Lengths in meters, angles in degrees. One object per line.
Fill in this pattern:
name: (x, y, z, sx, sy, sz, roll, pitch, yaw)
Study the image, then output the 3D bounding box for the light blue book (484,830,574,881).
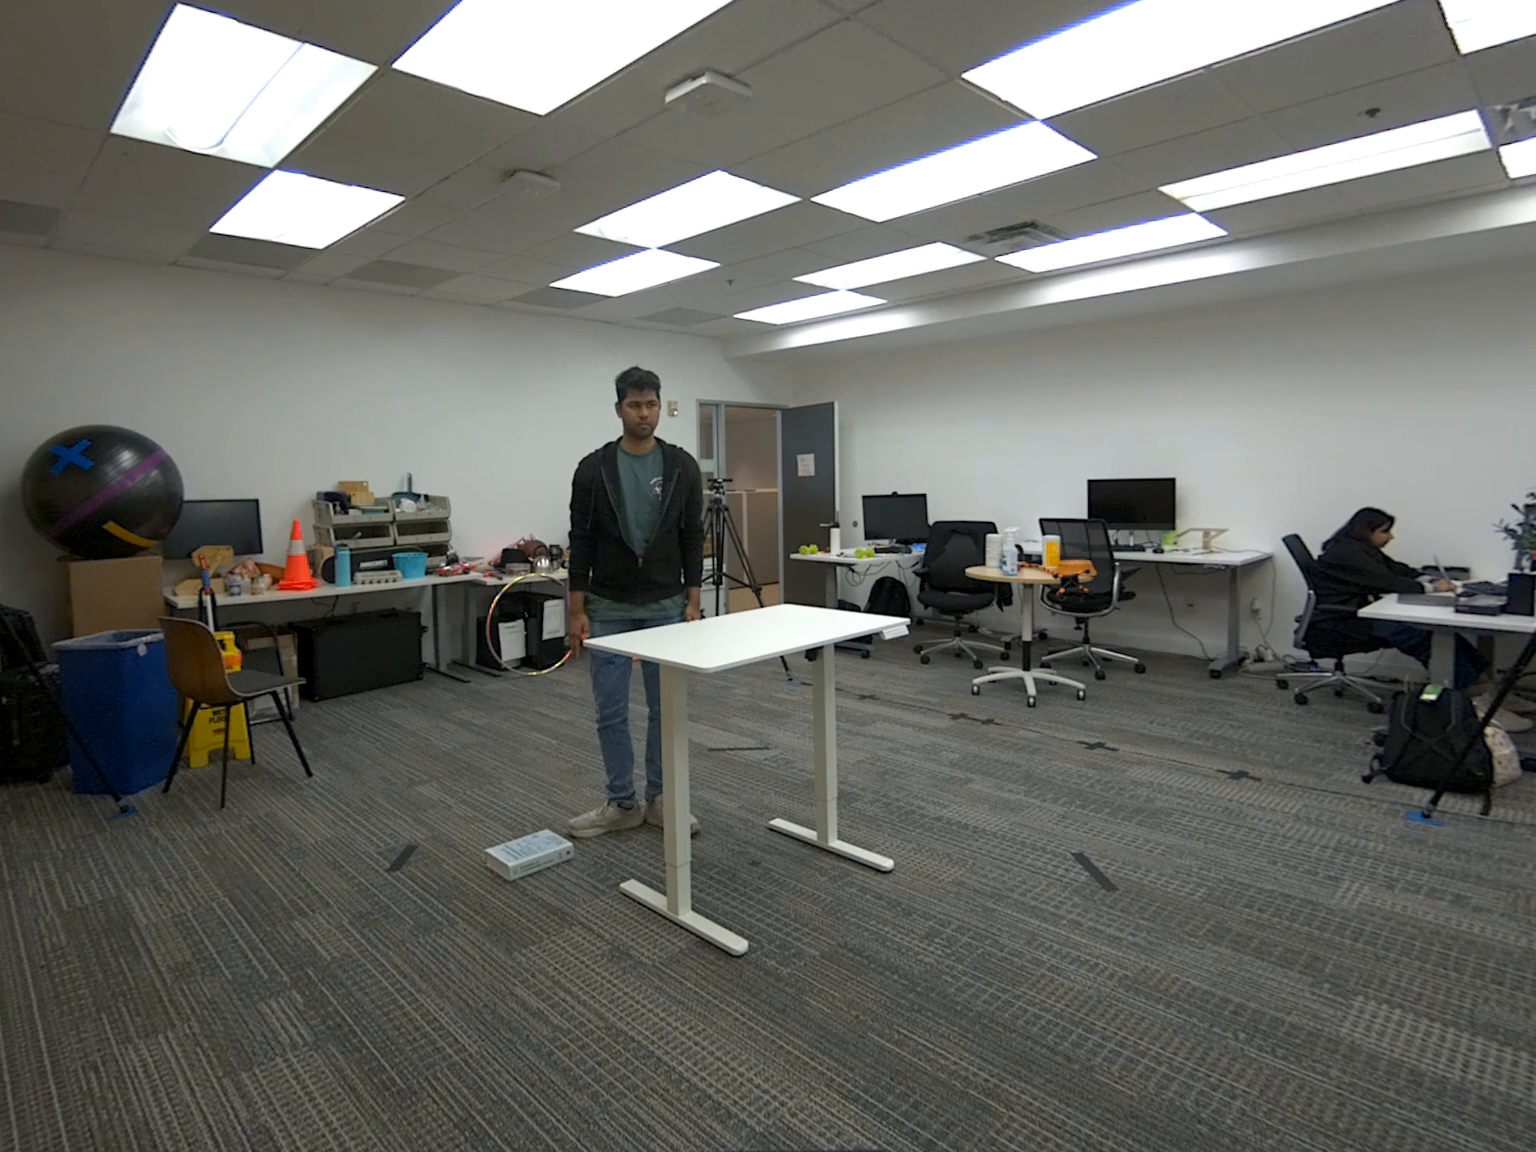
light blue book: (-0.876, 1.025, 3.150, 0.254, 0.059, 0.197, -8, 8, -43)
